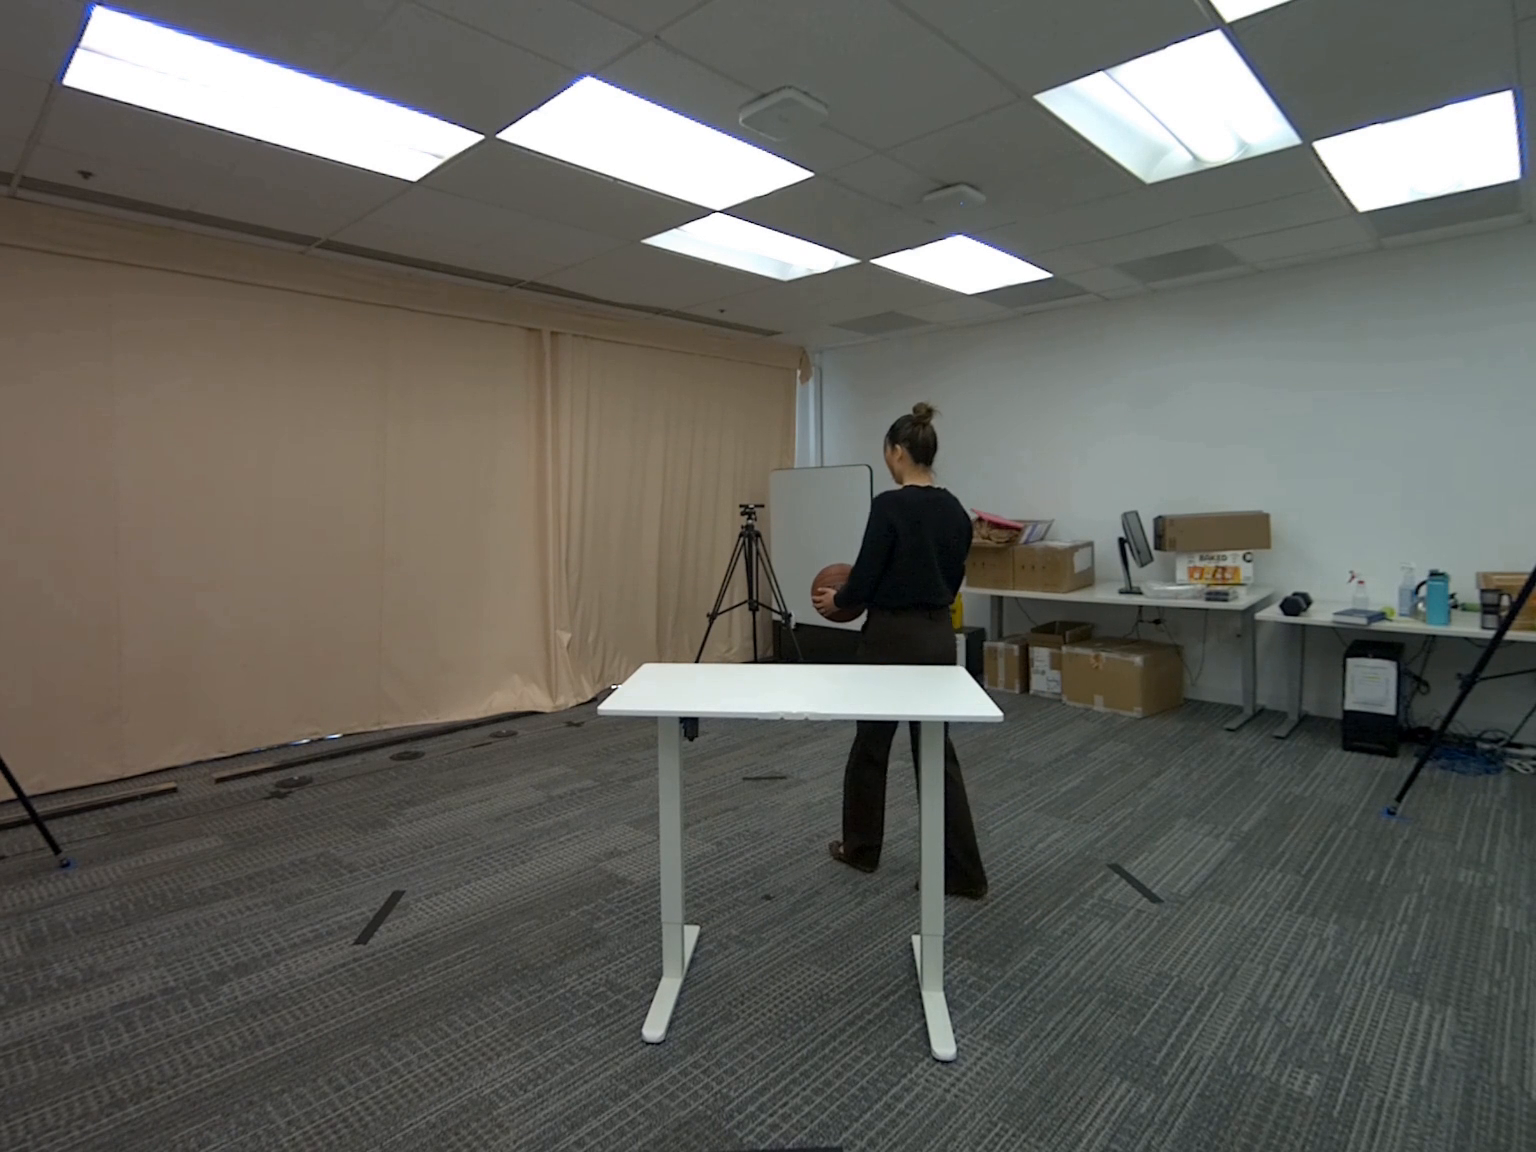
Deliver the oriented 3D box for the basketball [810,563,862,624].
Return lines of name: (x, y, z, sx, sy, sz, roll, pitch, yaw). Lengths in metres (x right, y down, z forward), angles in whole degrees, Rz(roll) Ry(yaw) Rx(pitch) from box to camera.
basketball: (0.289, 0.065, 3.342, 0.236, 0.235, 0.237, -1, 4, -2)
